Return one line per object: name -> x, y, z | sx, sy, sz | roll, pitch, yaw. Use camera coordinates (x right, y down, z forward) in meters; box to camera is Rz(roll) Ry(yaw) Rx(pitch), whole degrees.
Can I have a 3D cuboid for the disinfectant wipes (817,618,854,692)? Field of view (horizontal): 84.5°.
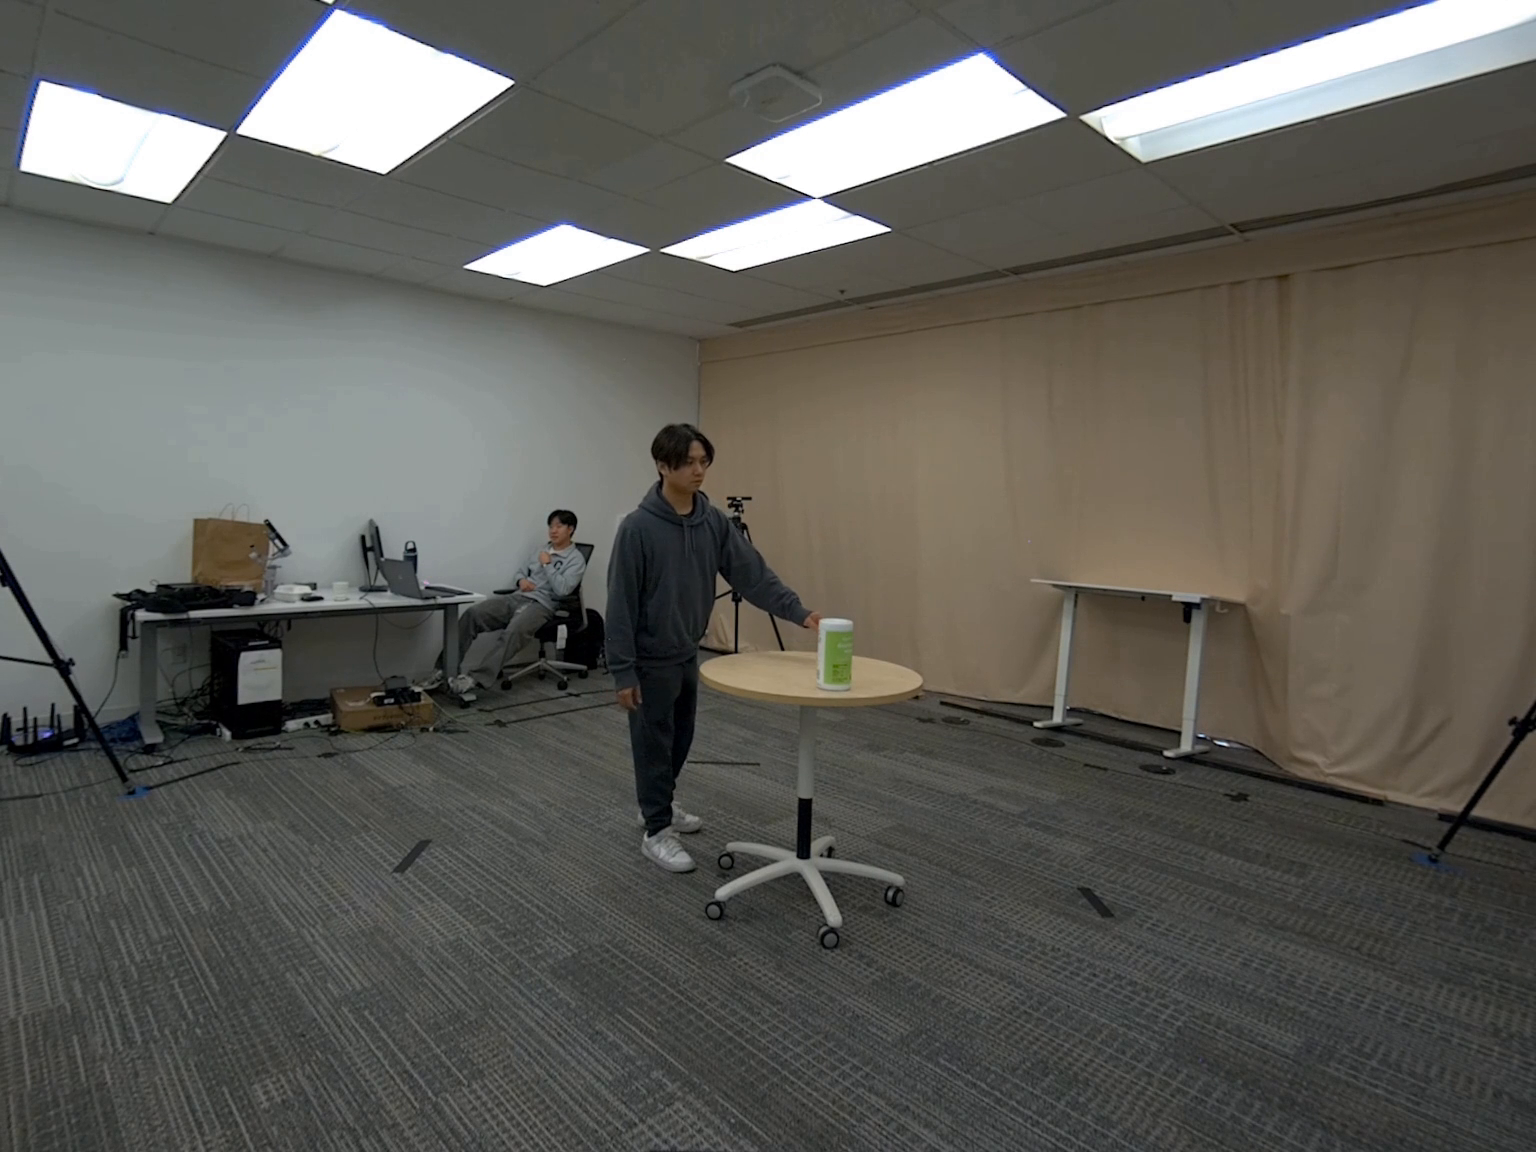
disinfectant wipes -> 0.204, 0.249, 2.677 | 0.118, 0.217, 0.118 | 3, 4, -2
